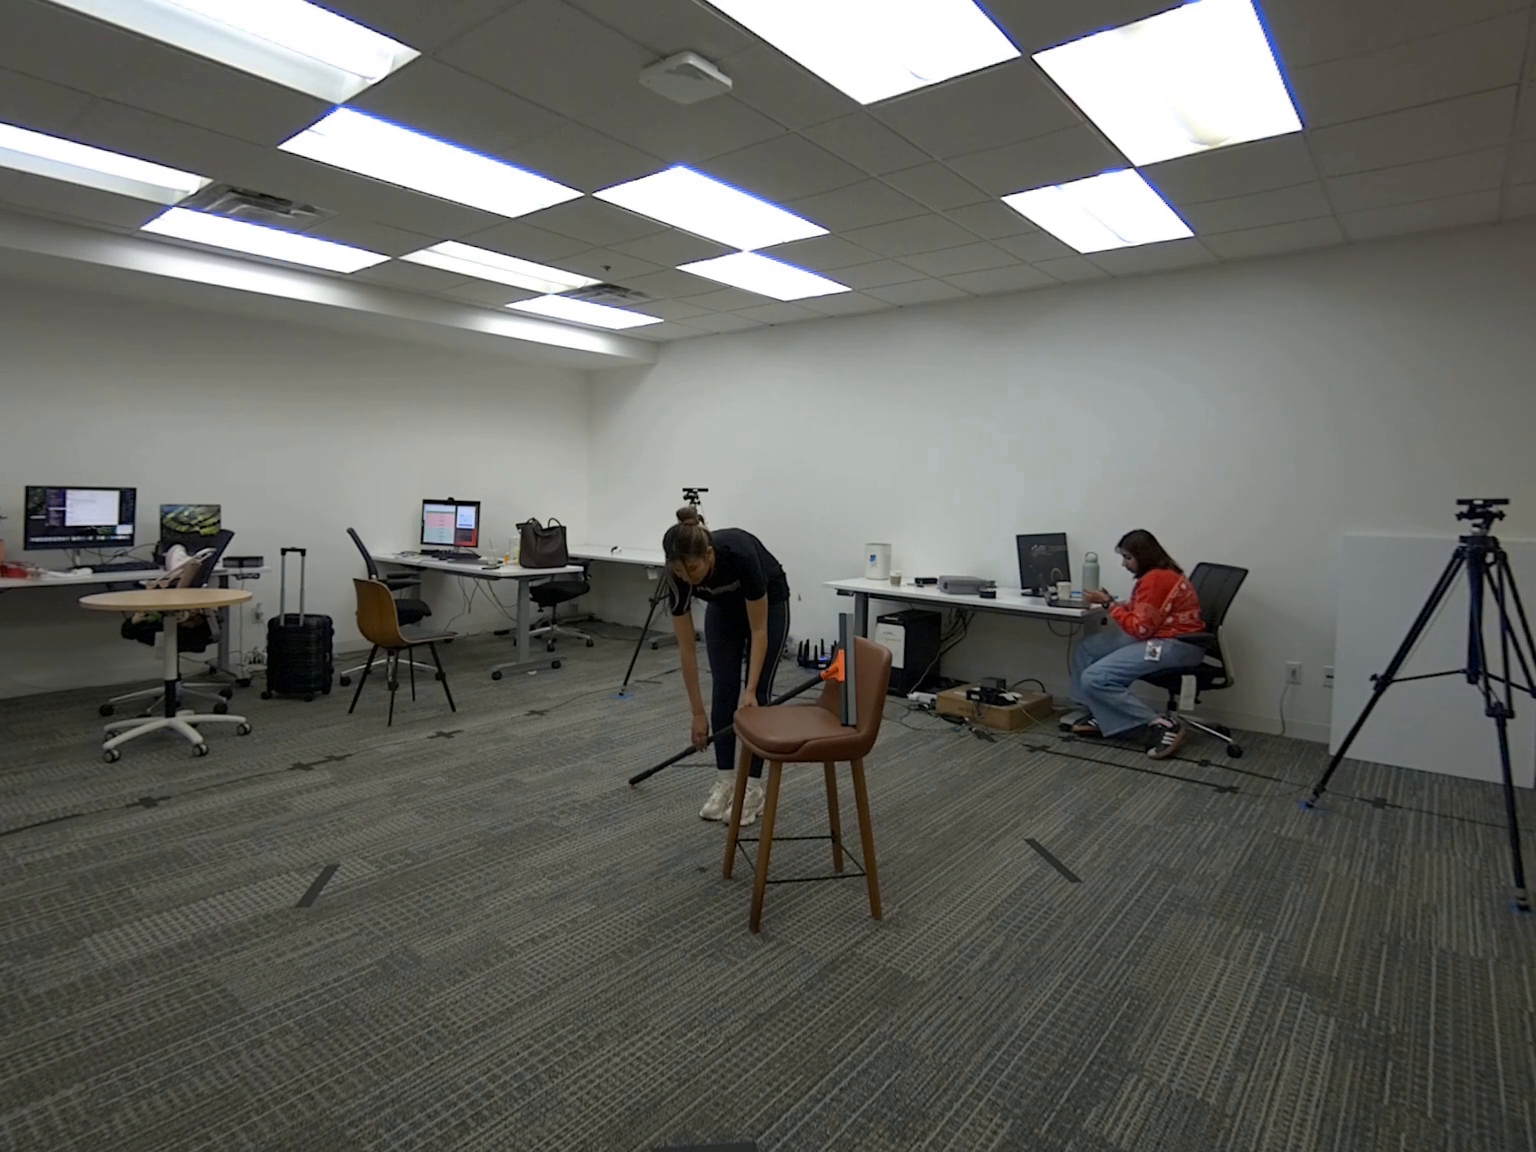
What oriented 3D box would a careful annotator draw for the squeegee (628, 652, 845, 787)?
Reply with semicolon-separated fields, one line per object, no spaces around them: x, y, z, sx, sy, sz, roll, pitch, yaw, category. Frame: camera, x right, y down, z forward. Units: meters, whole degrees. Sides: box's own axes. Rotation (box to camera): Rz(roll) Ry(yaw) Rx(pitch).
-0.203;0.623;3.450;0.051;0.449;1.549;24;-40;-31;squeegee
